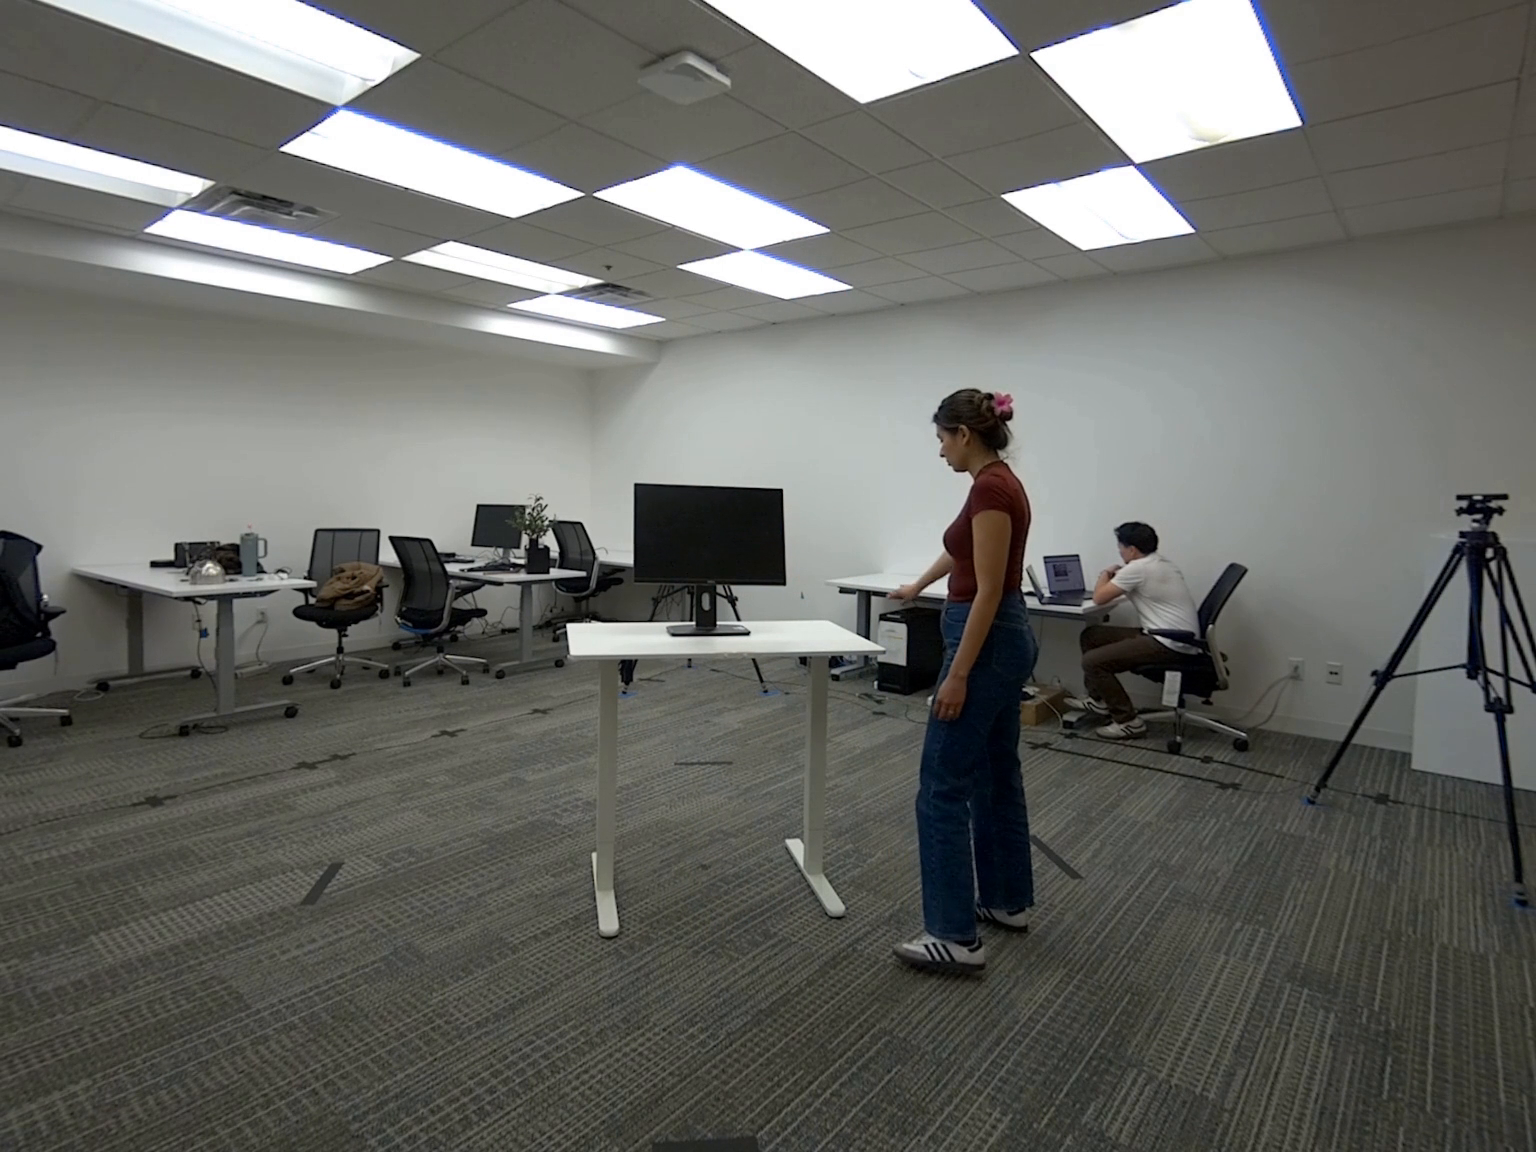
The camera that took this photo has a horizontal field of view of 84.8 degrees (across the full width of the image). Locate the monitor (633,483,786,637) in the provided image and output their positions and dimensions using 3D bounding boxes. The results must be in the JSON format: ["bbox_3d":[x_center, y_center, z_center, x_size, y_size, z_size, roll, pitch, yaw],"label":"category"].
[{"bbox_3d":[-0.221,-0.059,2.995,0.531,0.522,0.190,0,1,-13],"label":"monitor"}]
